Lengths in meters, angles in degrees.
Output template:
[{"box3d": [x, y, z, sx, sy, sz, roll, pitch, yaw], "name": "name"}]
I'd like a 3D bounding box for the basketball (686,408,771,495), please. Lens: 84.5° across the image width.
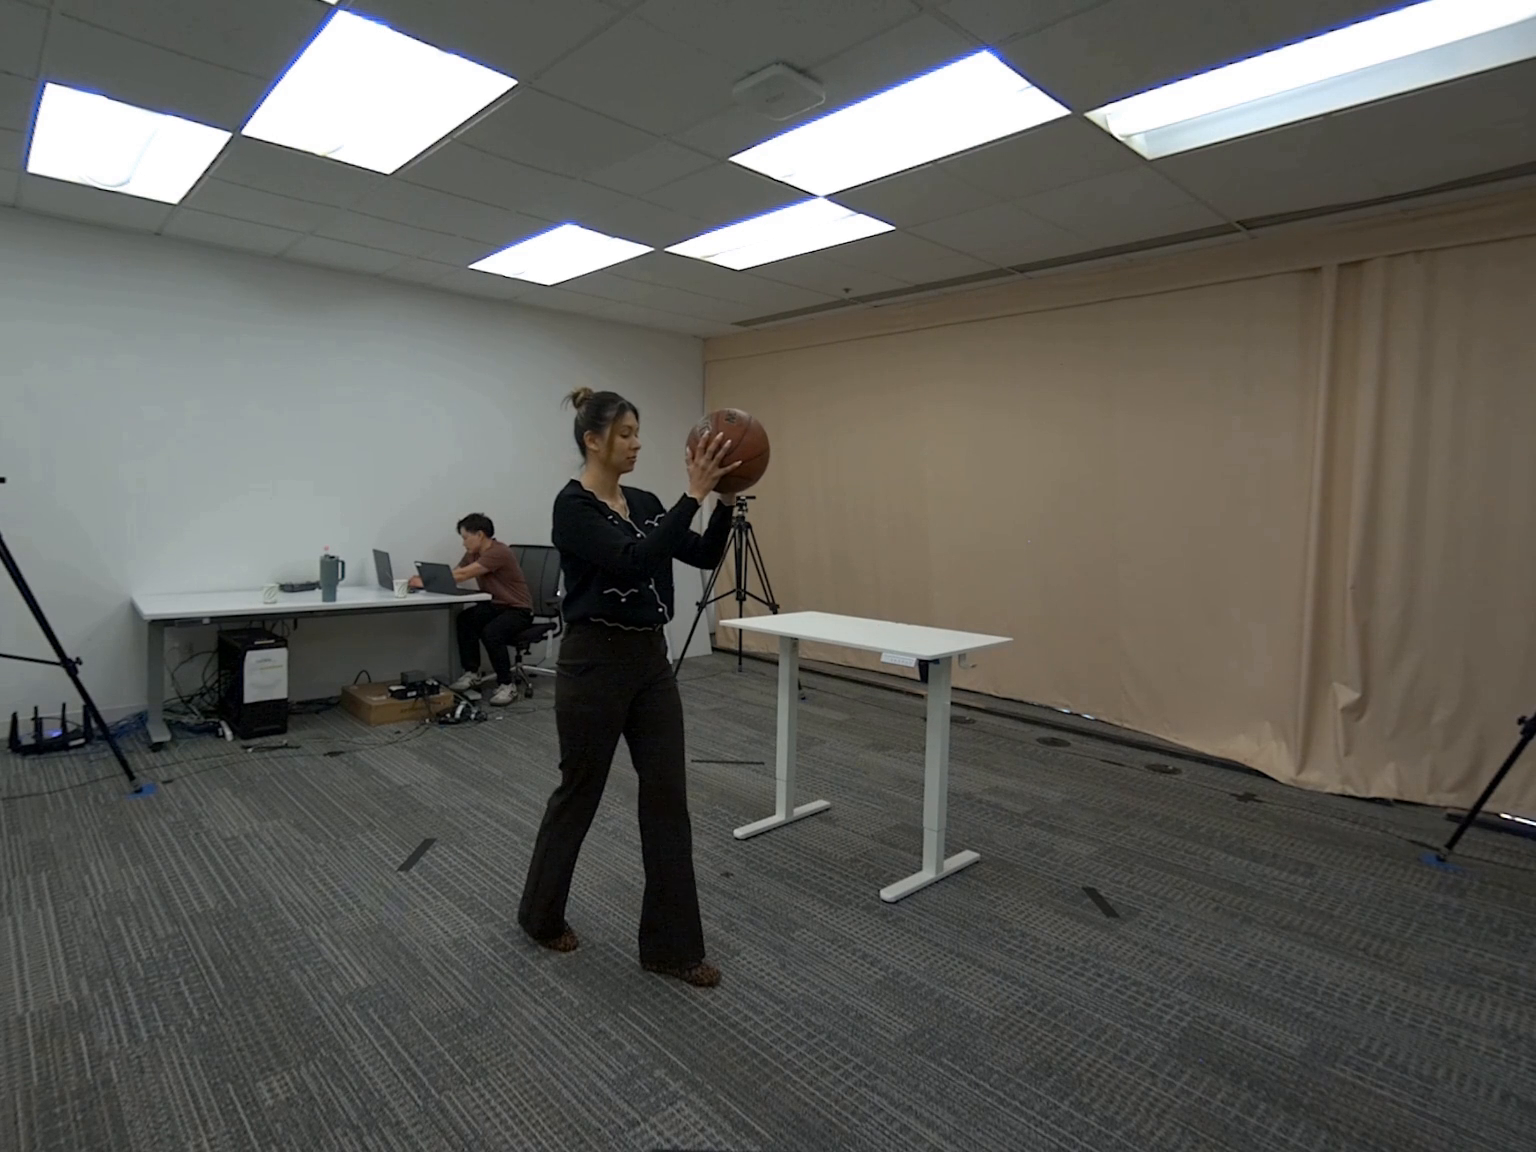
[{"box3d": [-0.135, -0.356, 2.334, 0.236, 0.235, 0.237, 1, 4, -1], "name": "basketball"}]
